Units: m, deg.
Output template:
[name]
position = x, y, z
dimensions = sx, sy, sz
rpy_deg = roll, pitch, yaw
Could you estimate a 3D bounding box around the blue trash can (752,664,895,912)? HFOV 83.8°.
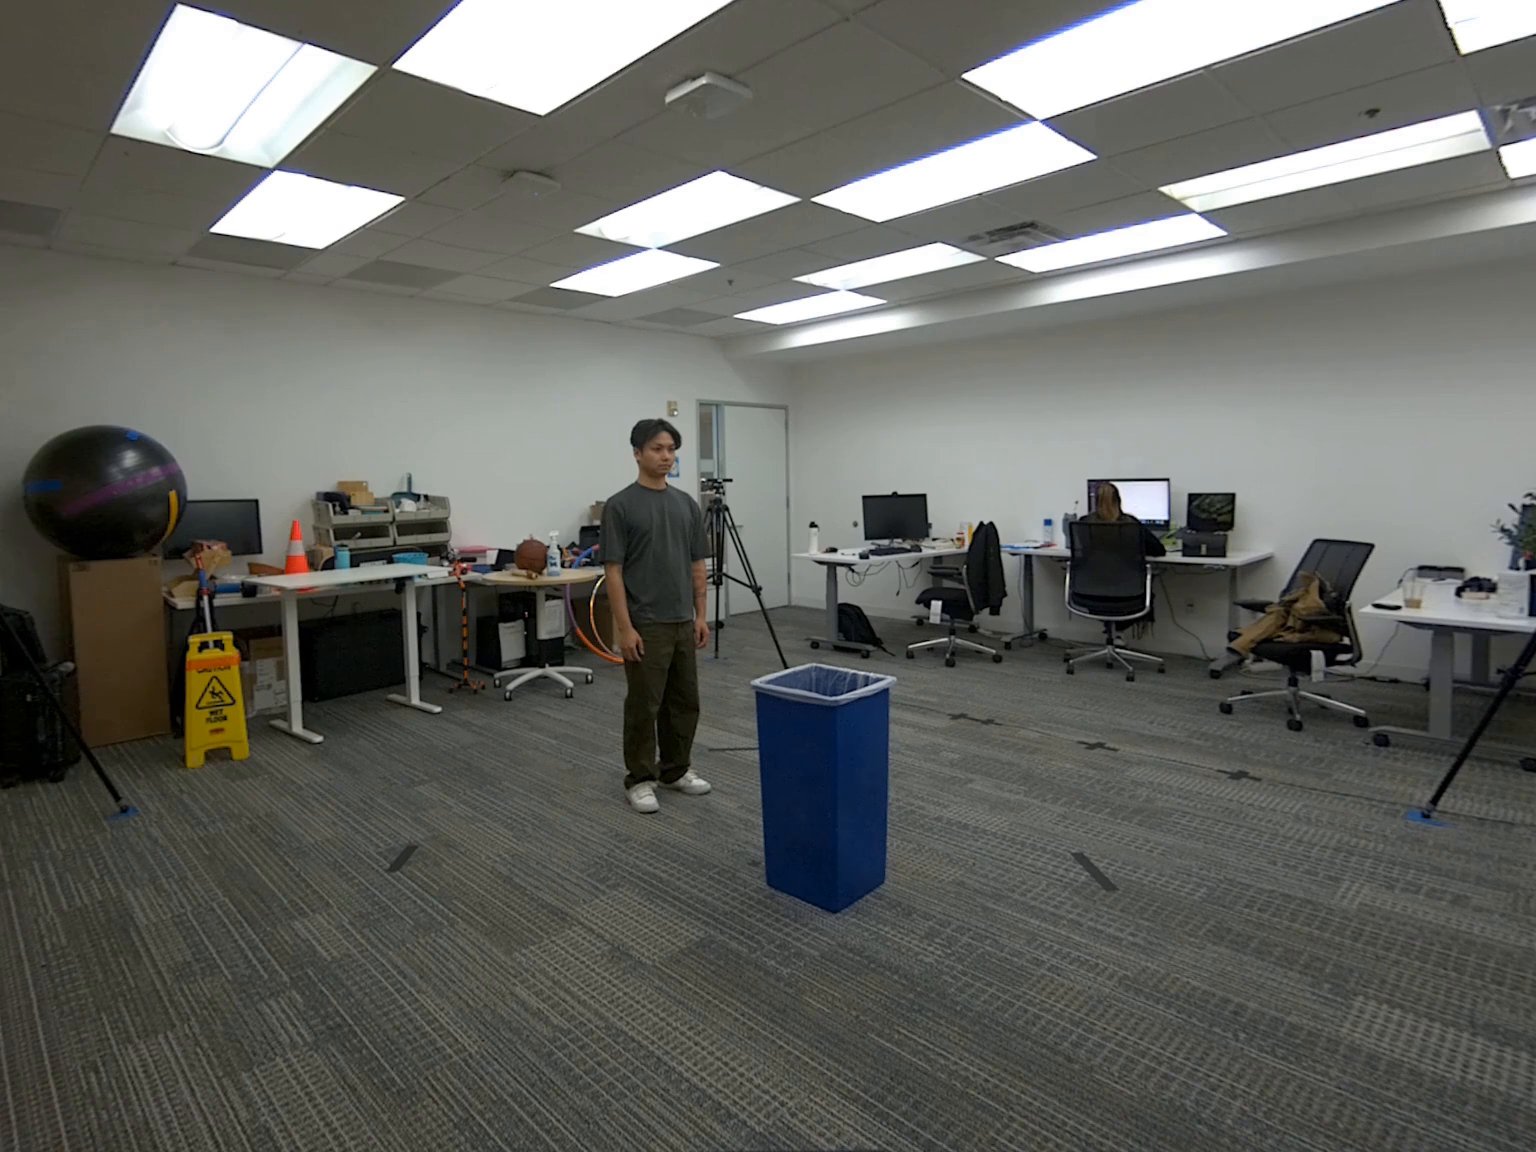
[blue trash can]
position = 0.203, 0.704, 2.917
dimensions = 0.385, 0.711, 0.368
rpy_deg = 2, 5, 41
